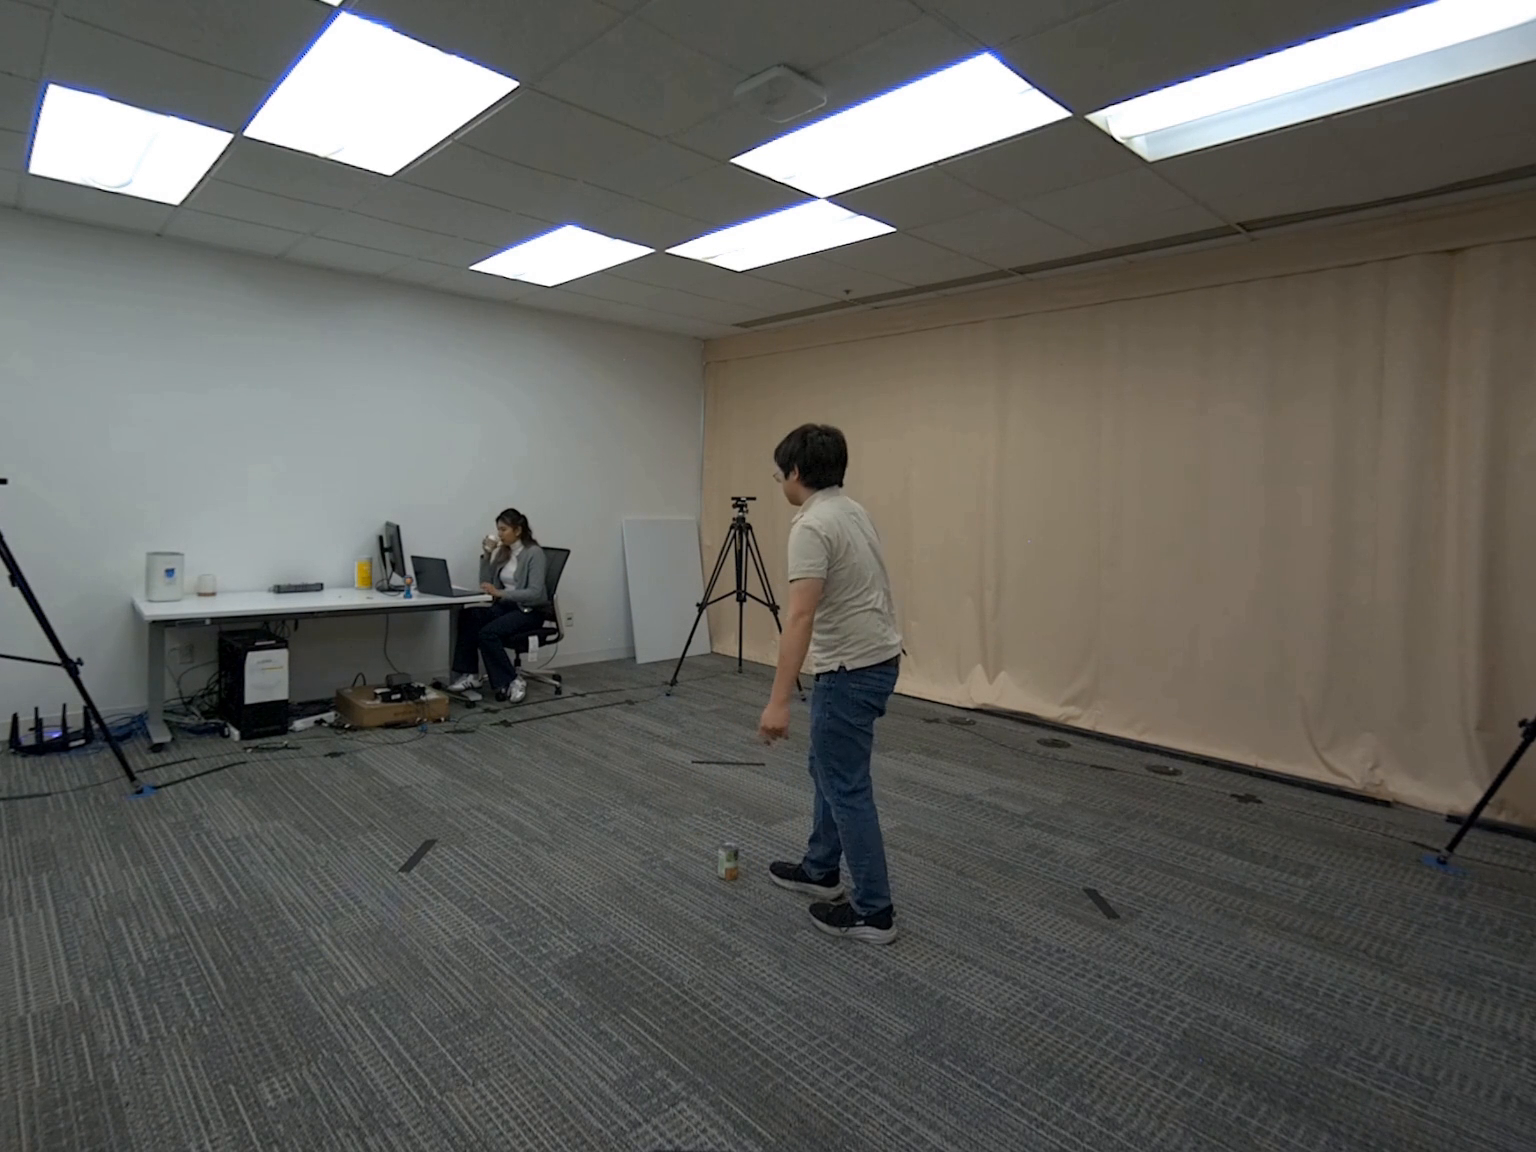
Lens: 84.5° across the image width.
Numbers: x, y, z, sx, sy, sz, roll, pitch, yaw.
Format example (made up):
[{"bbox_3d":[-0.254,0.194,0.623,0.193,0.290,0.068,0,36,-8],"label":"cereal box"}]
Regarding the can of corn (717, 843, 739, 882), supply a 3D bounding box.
[{"bbox_3d":[-0.158,1.056,3.101,0.074,0.111,0.074,-1,2,-1],"label":"can of corn"}]
